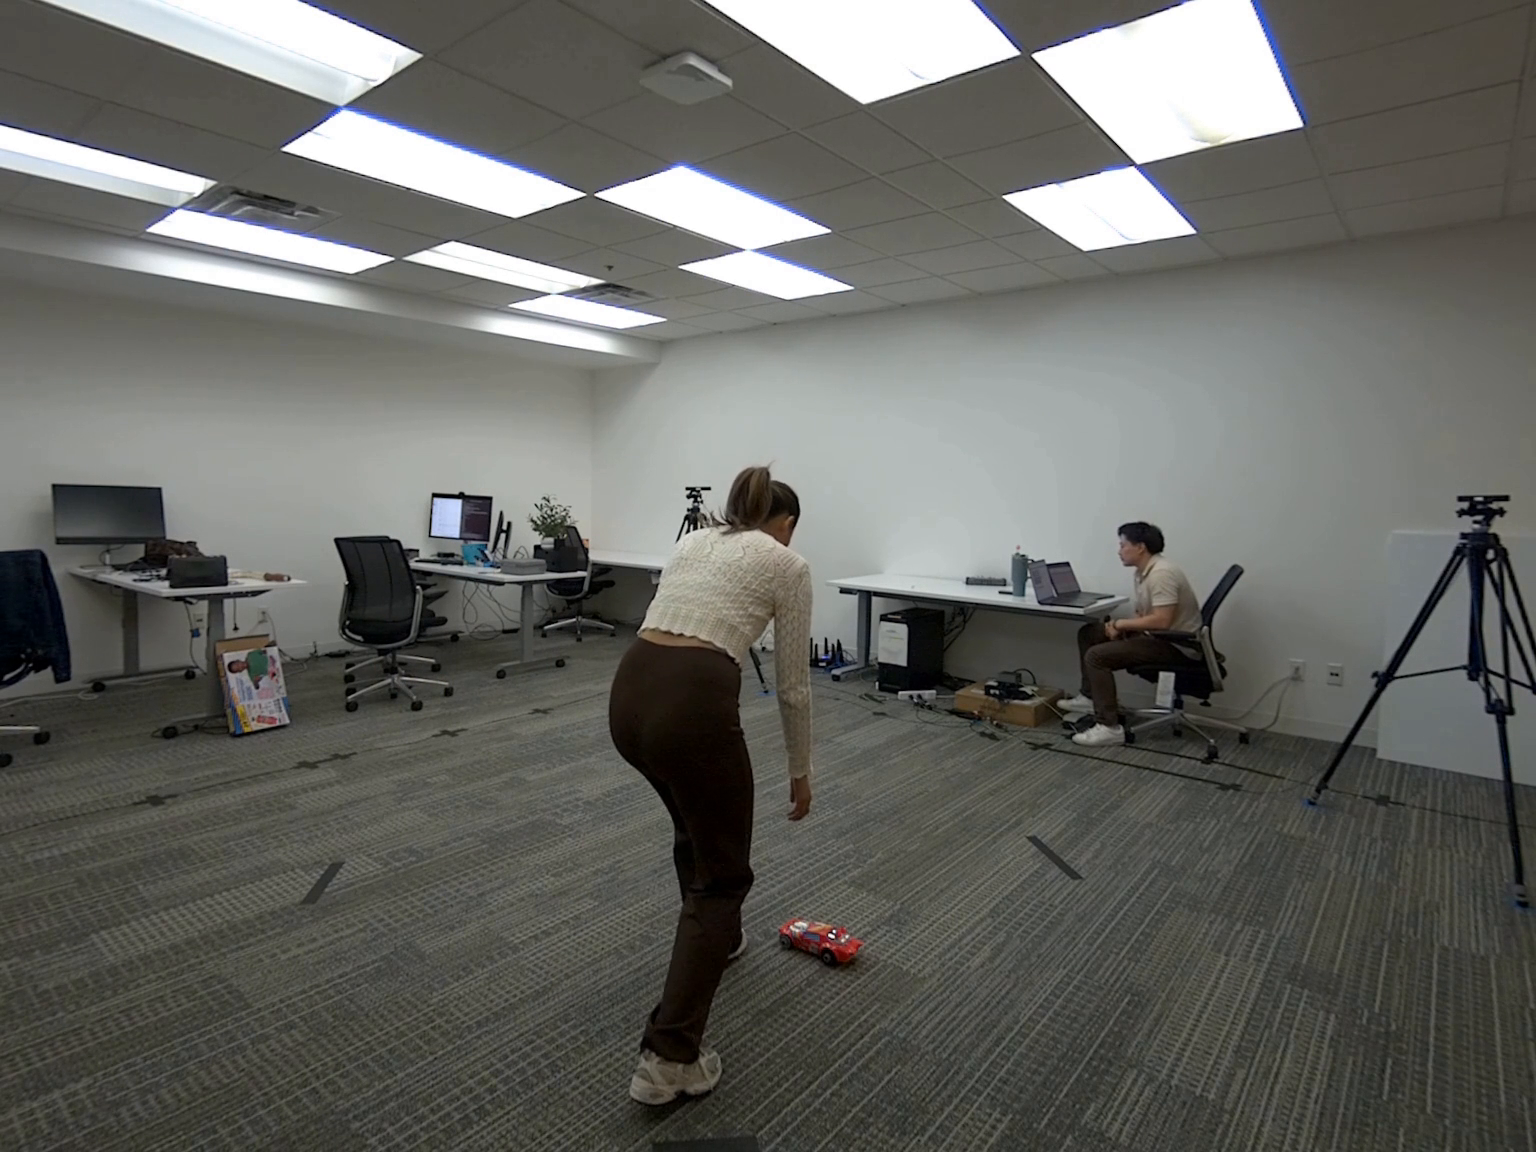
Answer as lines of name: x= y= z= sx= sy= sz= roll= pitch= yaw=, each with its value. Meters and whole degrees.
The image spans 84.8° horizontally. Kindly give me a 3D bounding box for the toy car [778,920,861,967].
toy car: x=0.161 y=1.098 z=2.555 sx=0.261 sy=0.083 sz=0.127 roll=-8 pitch=-1 yaw=35
